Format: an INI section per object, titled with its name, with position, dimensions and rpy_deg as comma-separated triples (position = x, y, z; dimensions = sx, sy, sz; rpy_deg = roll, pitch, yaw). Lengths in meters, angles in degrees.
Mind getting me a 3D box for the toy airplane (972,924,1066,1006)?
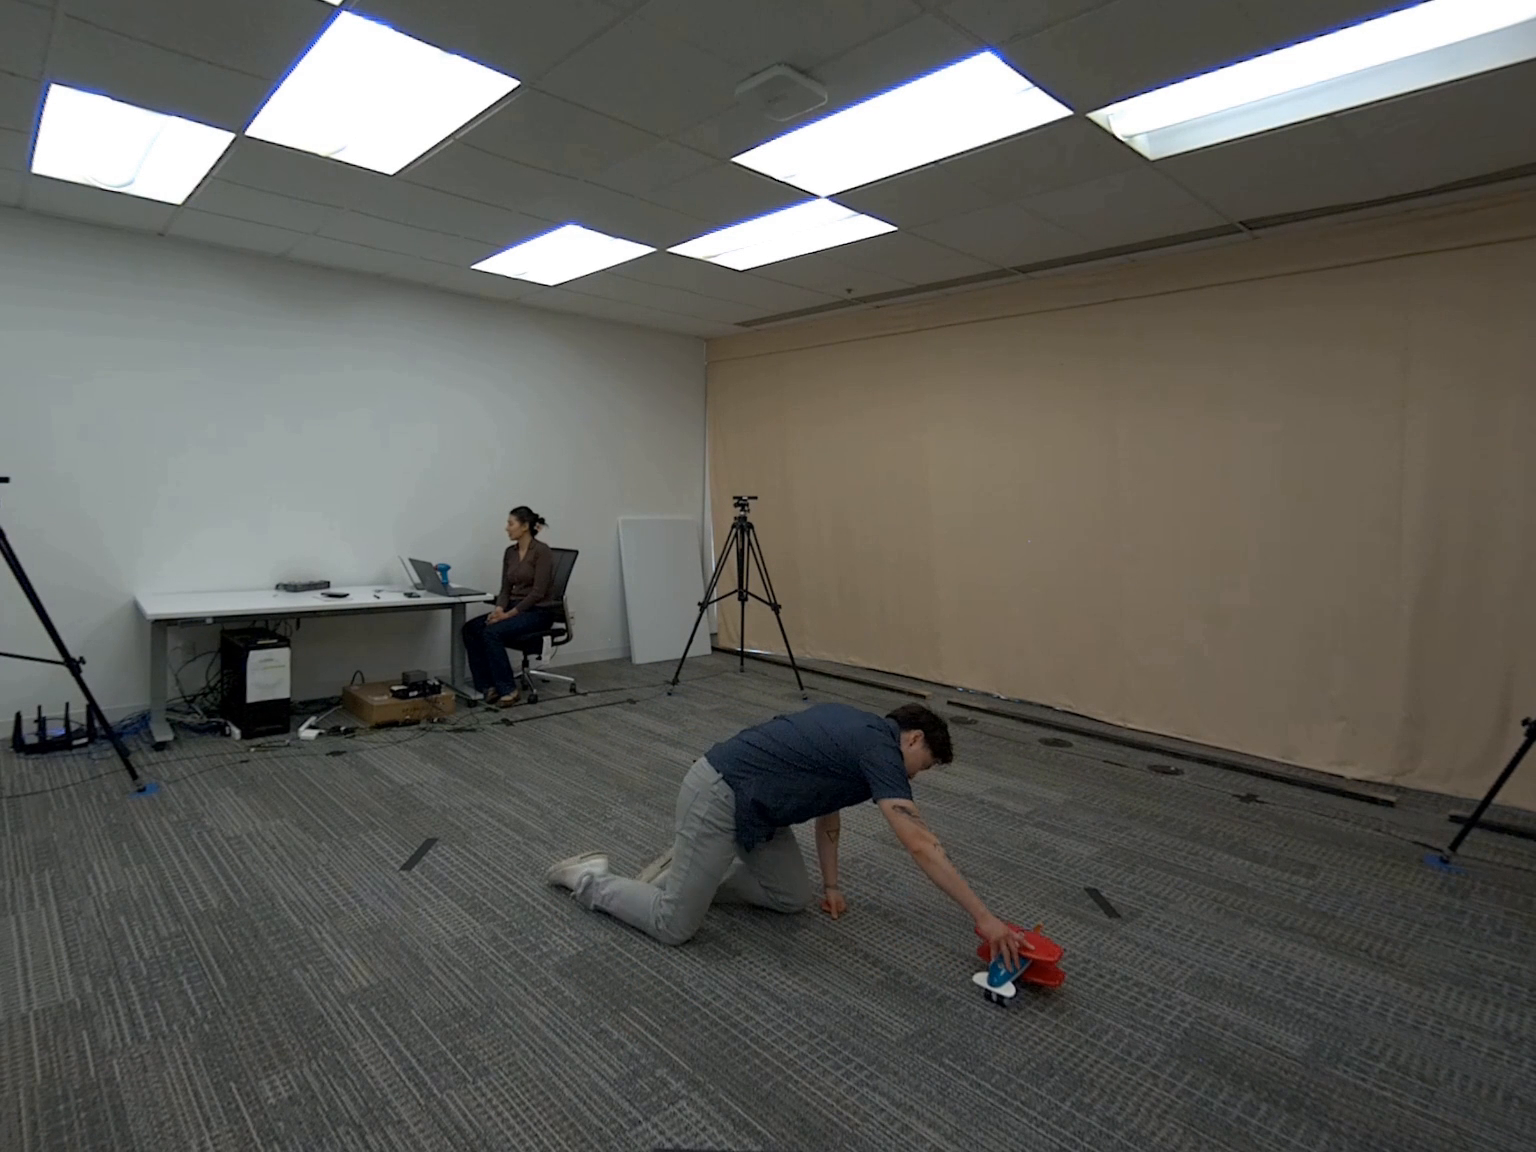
[toy airplane]
position = 0.712, 1.116, 2.402
dimensions = 0.254, 0.156, 0.256
rpy_deg = 1, 2, 16
